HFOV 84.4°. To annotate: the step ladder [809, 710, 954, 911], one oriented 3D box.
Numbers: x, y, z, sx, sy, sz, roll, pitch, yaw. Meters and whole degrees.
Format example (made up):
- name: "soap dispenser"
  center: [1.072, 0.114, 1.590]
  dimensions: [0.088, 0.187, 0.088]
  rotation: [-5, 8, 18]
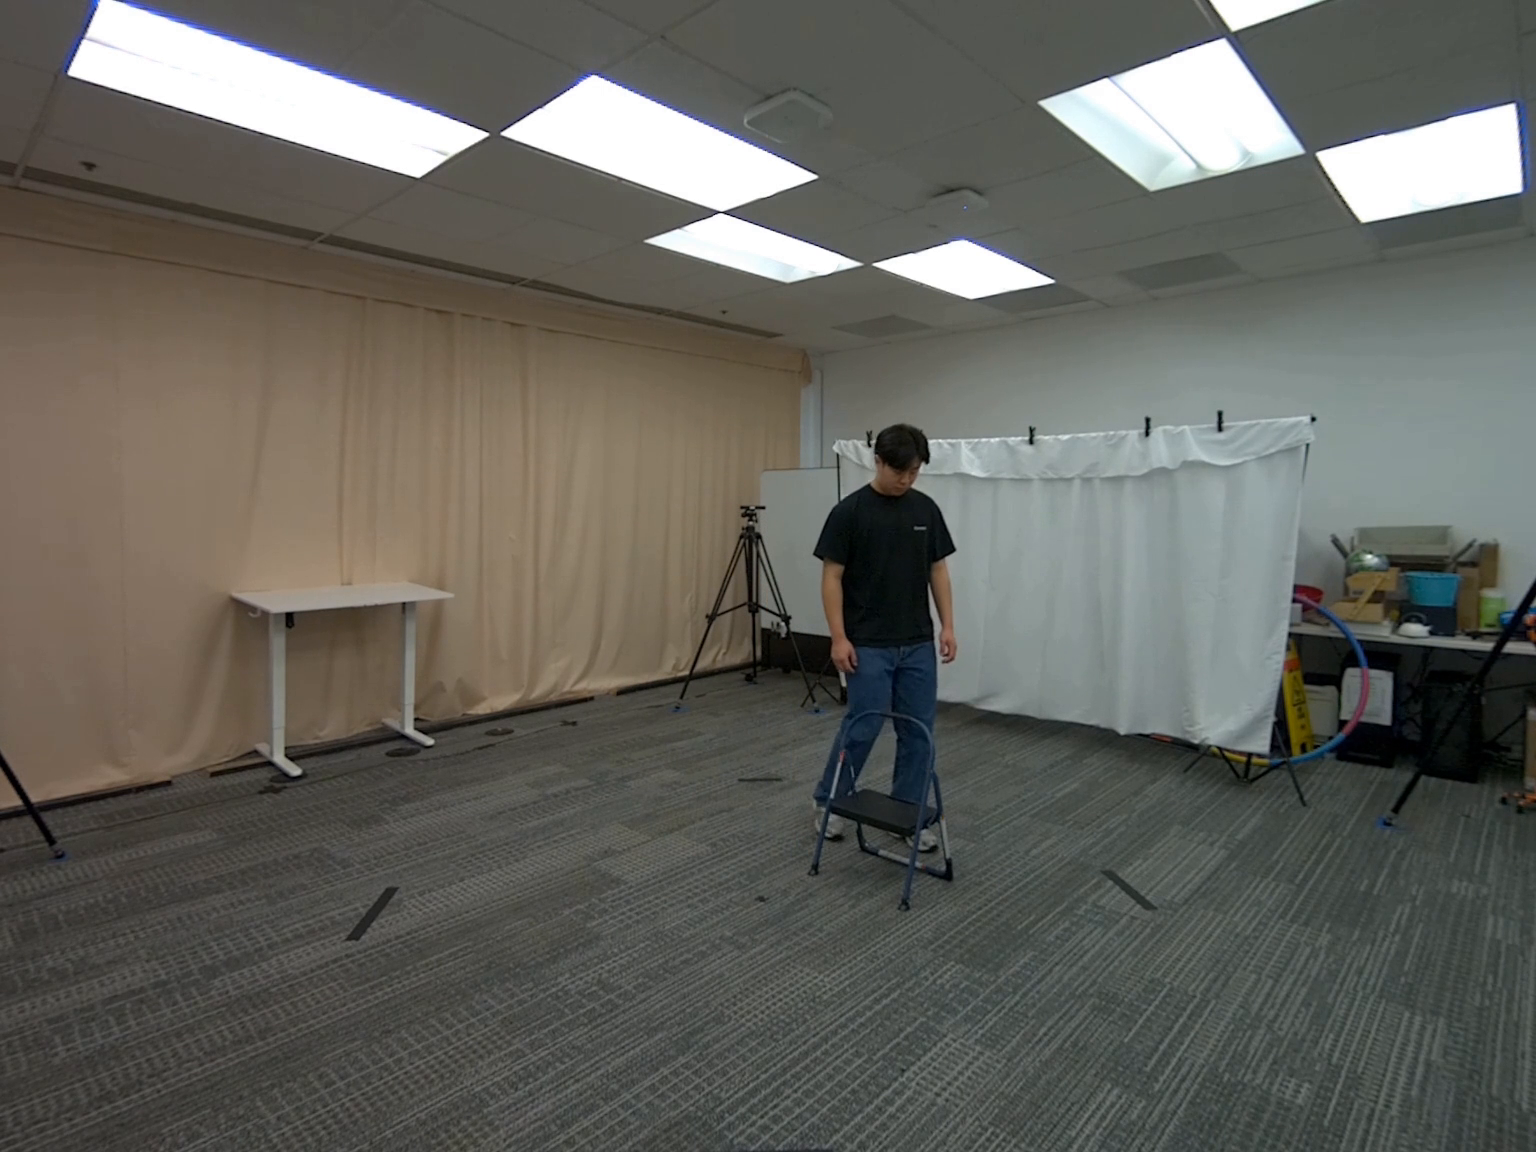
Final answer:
- name: "step ladder"
  center: [0.427, 0.823, 3.141]
  dimensions: [0.445, 0.605, 0.338]
  rotation: [3, 4, 43]
